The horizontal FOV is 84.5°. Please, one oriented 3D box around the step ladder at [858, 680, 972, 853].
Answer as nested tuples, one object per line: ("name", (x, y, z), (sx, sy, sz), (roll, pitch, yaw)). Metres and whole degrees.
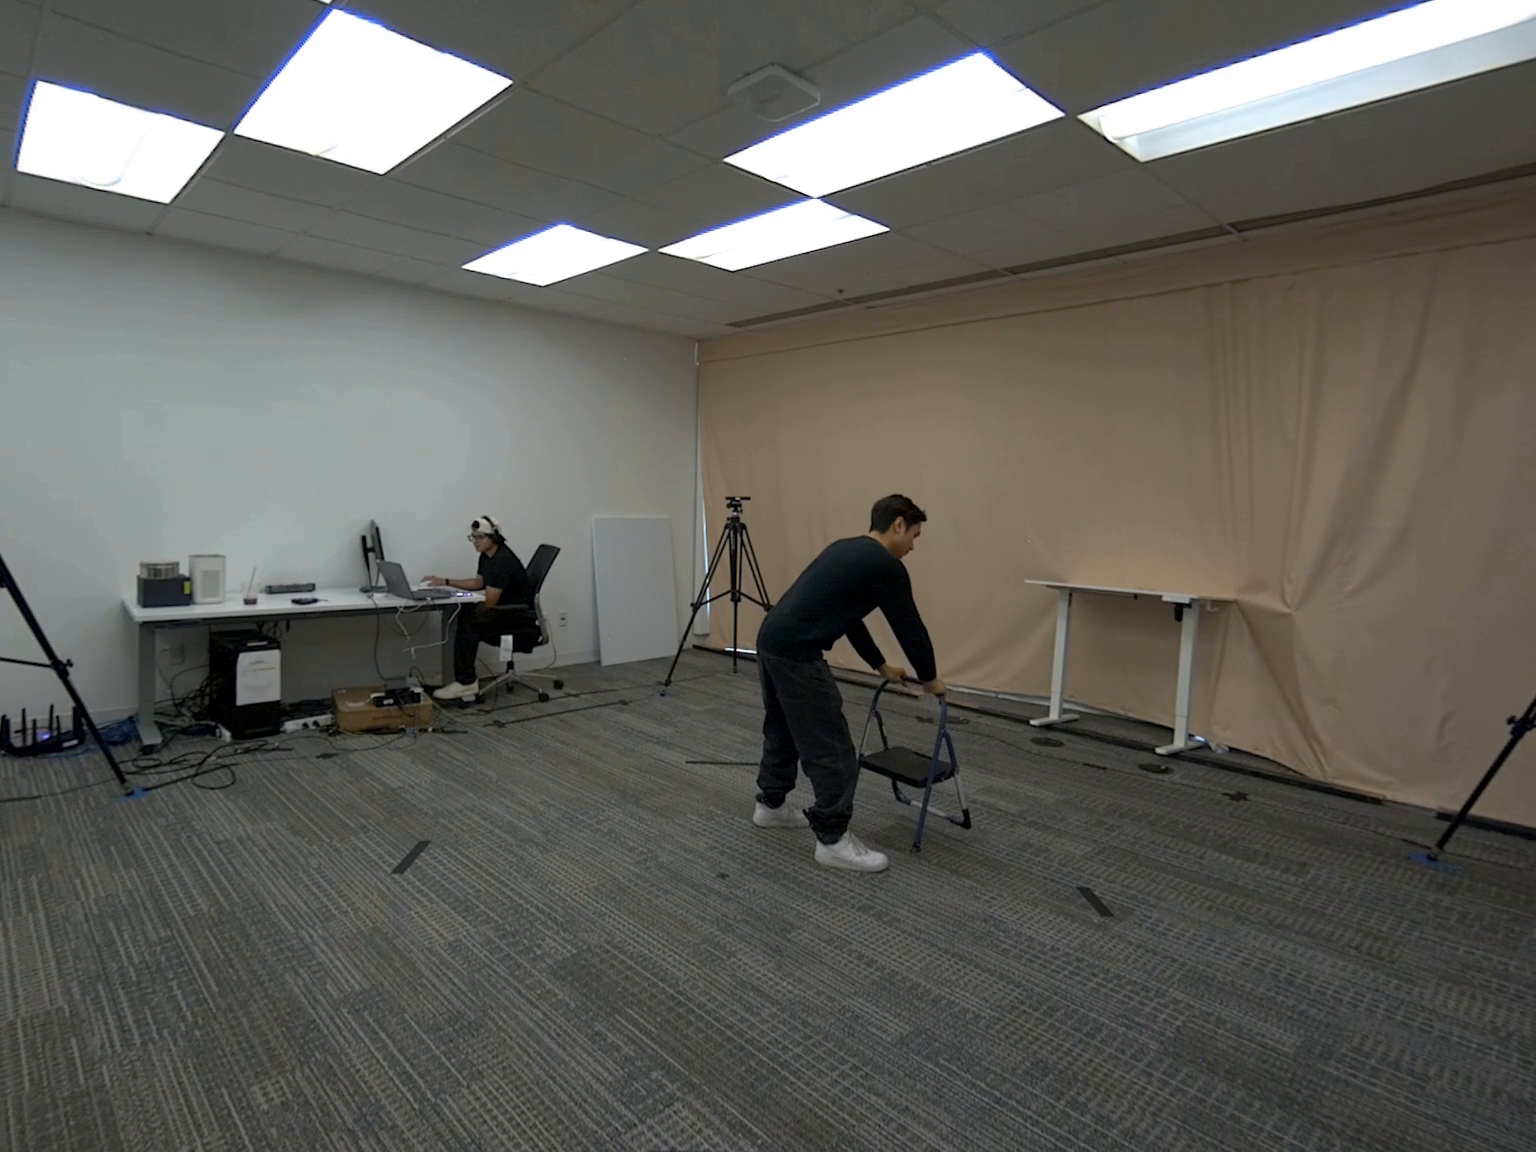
("step ladder", (0.559, 0.737, 3.492), (0.342, 0.603, 0.441), (-6, 7, -36))
